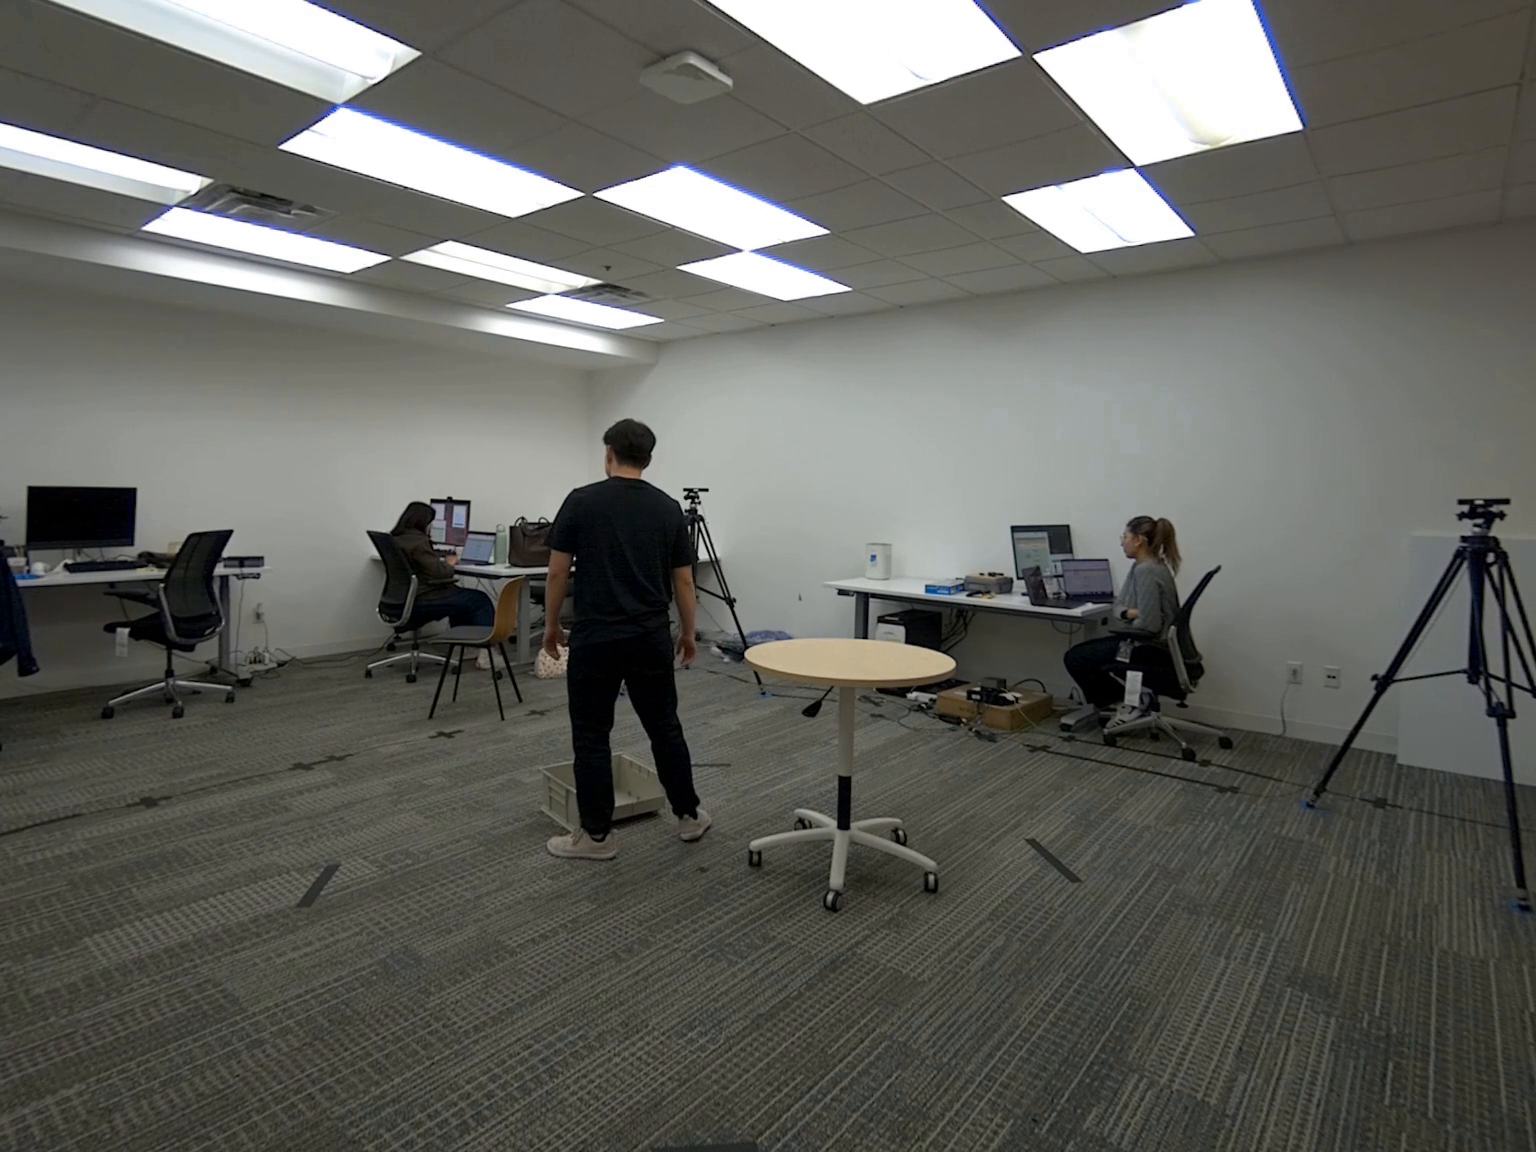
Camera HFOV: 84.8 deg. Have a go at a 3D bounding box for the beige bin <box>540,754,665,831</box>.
[{"bbox_3d":[-0.724,0.922,3.644,0.410,0.188,0.390,-3,6,-37],"label":"beige bin"}]
